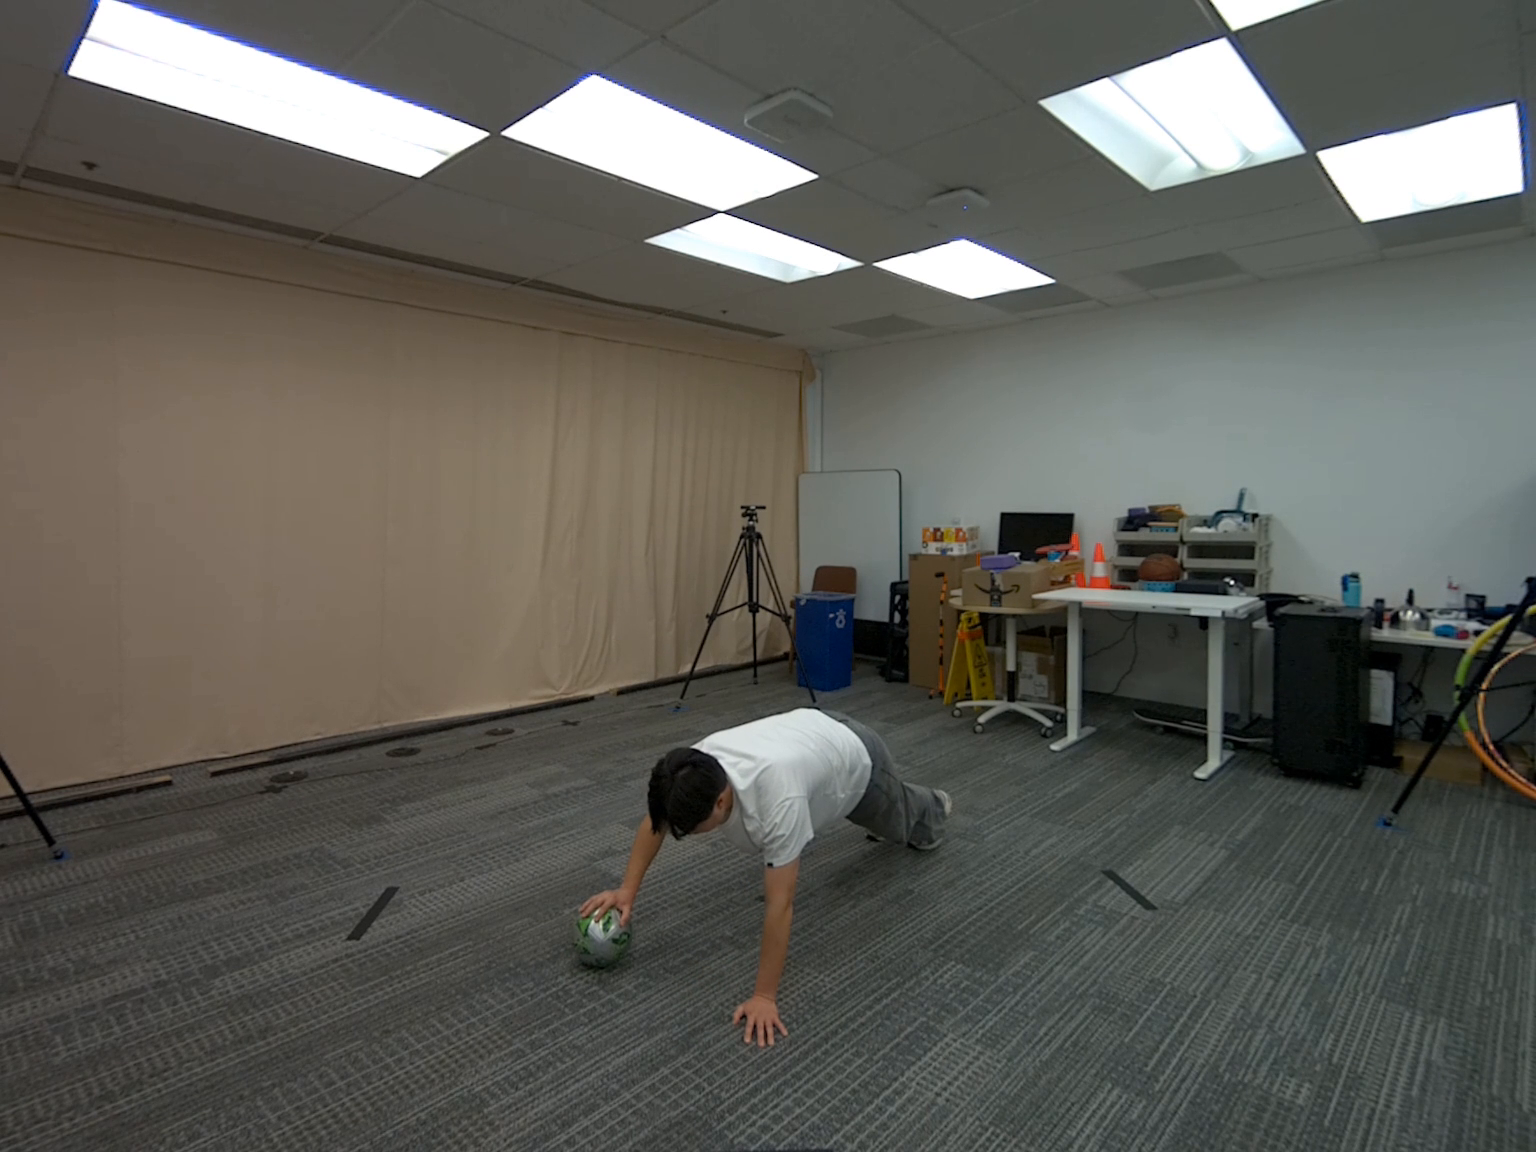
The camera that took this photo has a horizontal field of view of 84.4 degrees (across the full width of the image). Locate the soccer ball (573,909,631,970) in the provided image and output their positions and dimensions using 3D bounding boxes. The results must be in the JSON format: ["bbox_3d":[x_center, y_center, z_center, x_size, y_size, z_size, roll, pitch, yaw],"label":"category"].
[{"bbox_3d":[-0.497,1.094,2.568,0.187,0.187,0.188,0,4,-2],"label":"soccer ball"}]
